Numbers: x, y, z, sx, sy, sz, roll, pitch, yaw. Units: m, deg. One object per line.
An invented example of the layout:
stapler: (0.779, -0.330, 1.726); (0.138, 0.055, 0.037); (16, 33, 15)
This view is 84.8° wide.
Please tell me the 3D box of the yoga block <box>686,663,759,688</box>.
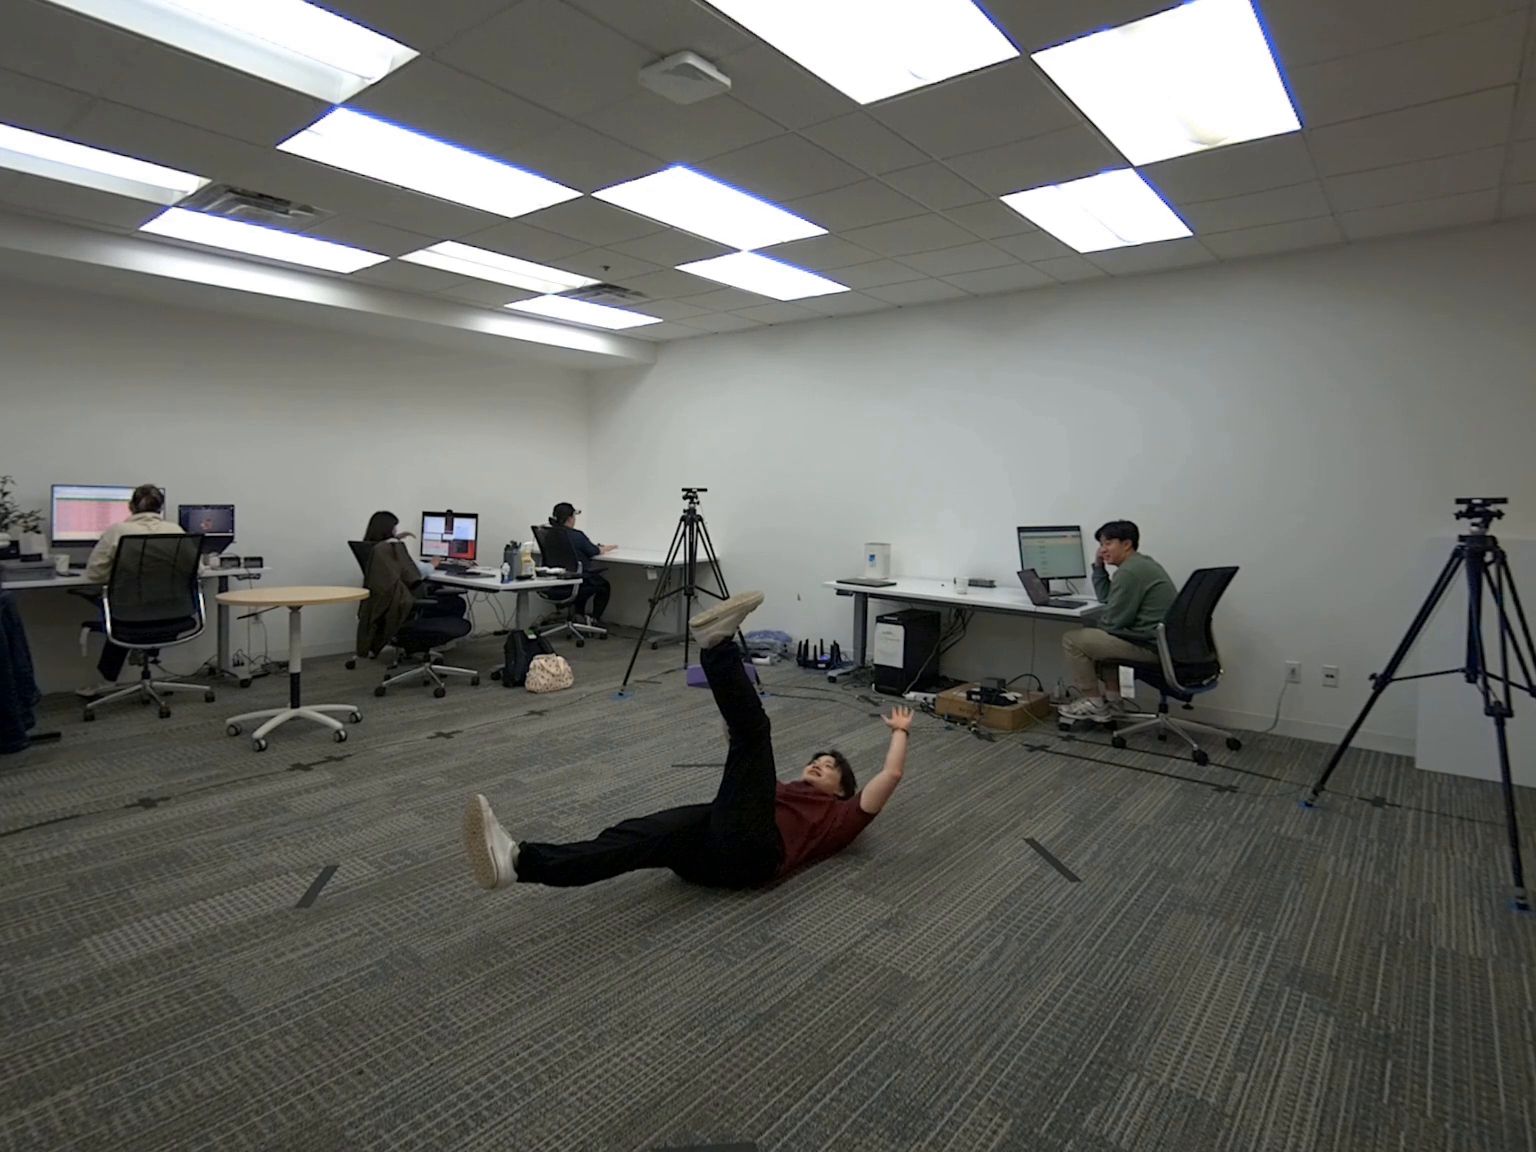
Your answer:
yoga block: (-0.191, 0.374, 3.200); (0.235, 0.077, 0.143); (-13, -20, 41)
